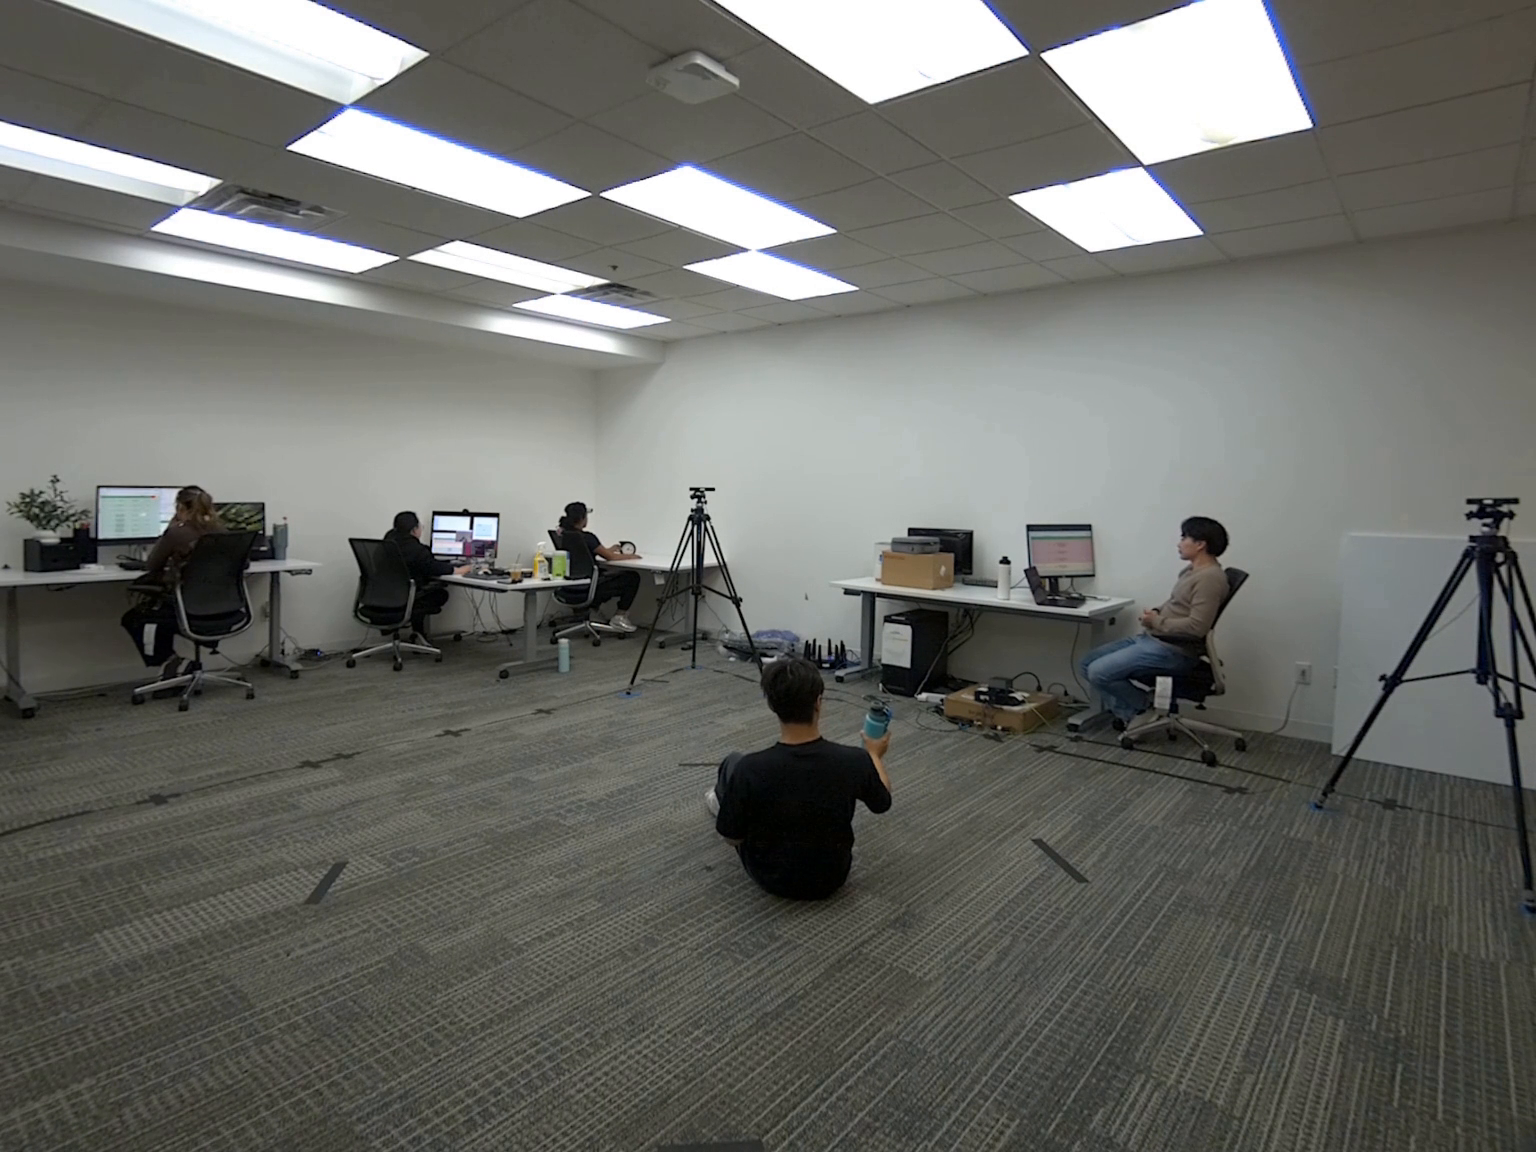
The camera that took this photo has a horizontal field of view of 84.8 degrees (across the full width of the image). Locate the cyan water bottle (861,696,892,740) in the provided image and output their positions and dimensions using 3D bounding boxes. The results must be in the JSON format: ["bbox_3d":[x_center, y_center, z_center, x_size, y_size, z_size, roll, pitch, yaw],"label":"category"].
[{"bbox_3d":[0.408,0.625,3.351,0.092,0.279,0.094,9,19,-5],"label":"cyan water bottle"}]
